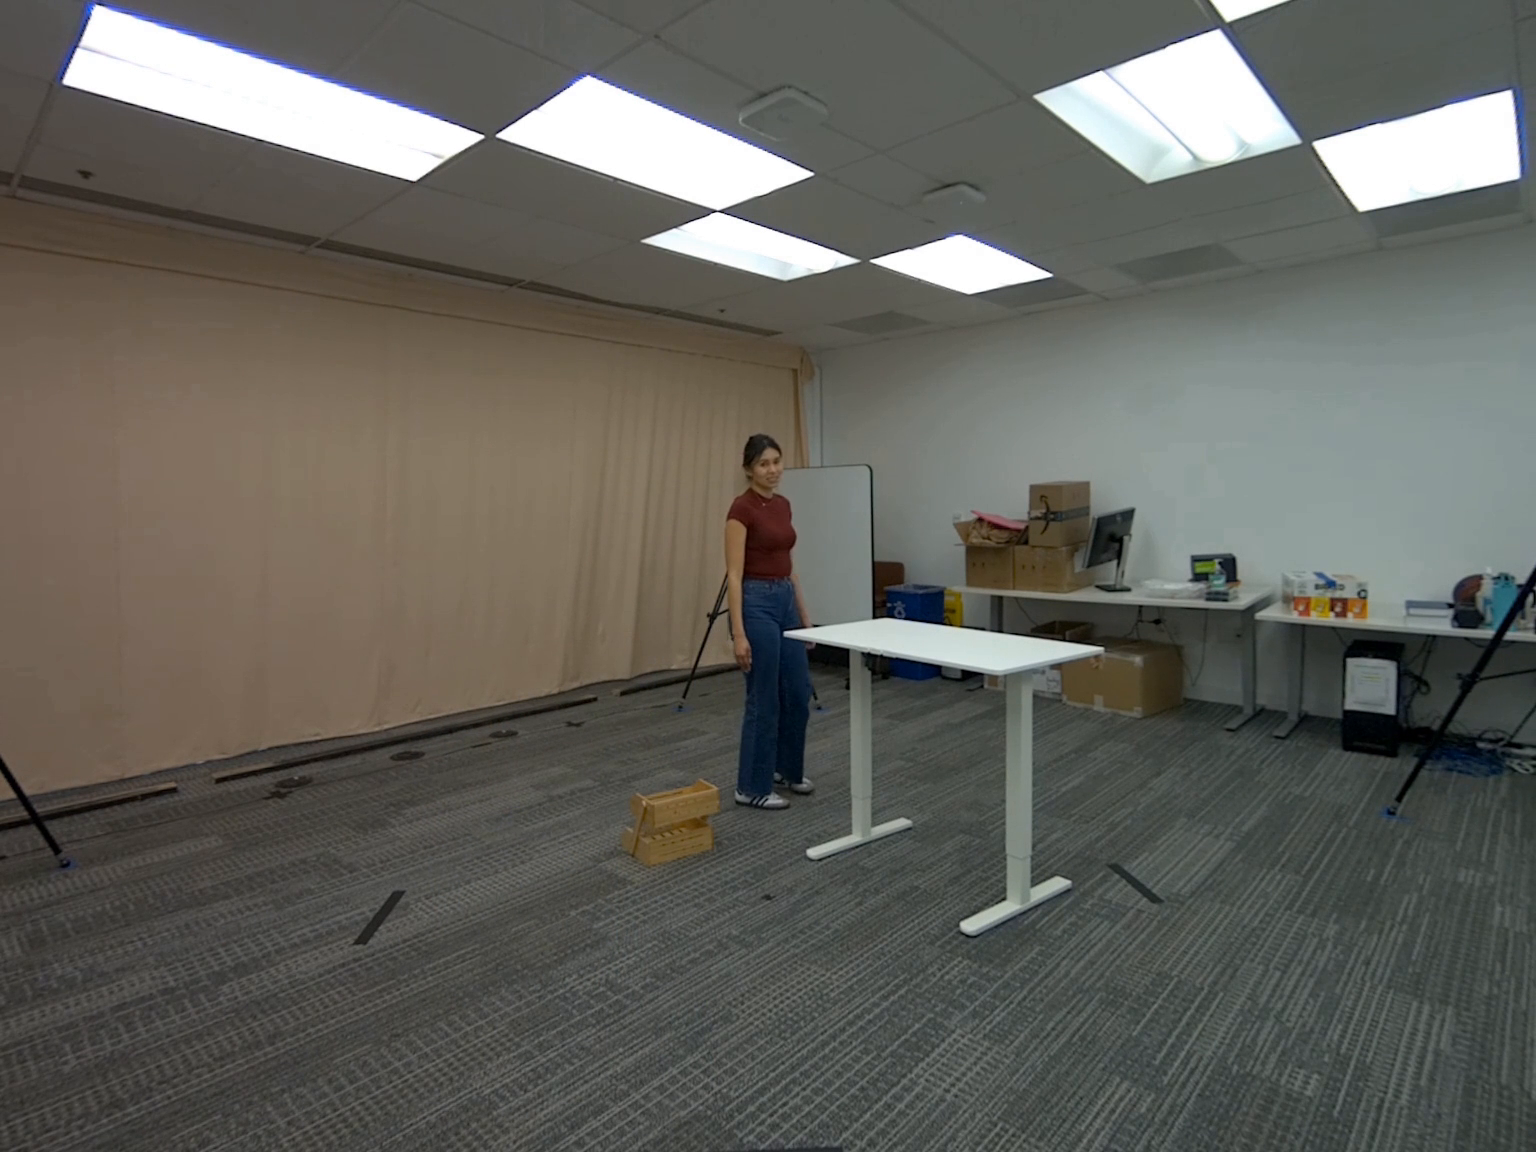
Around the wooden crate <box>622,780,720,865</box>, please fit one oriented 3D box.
[{"bbox_3d":[-0.403,0.976,3.417,0.315,0.272,0.311,-4,5,-33],"label":"wooden crate"}]
